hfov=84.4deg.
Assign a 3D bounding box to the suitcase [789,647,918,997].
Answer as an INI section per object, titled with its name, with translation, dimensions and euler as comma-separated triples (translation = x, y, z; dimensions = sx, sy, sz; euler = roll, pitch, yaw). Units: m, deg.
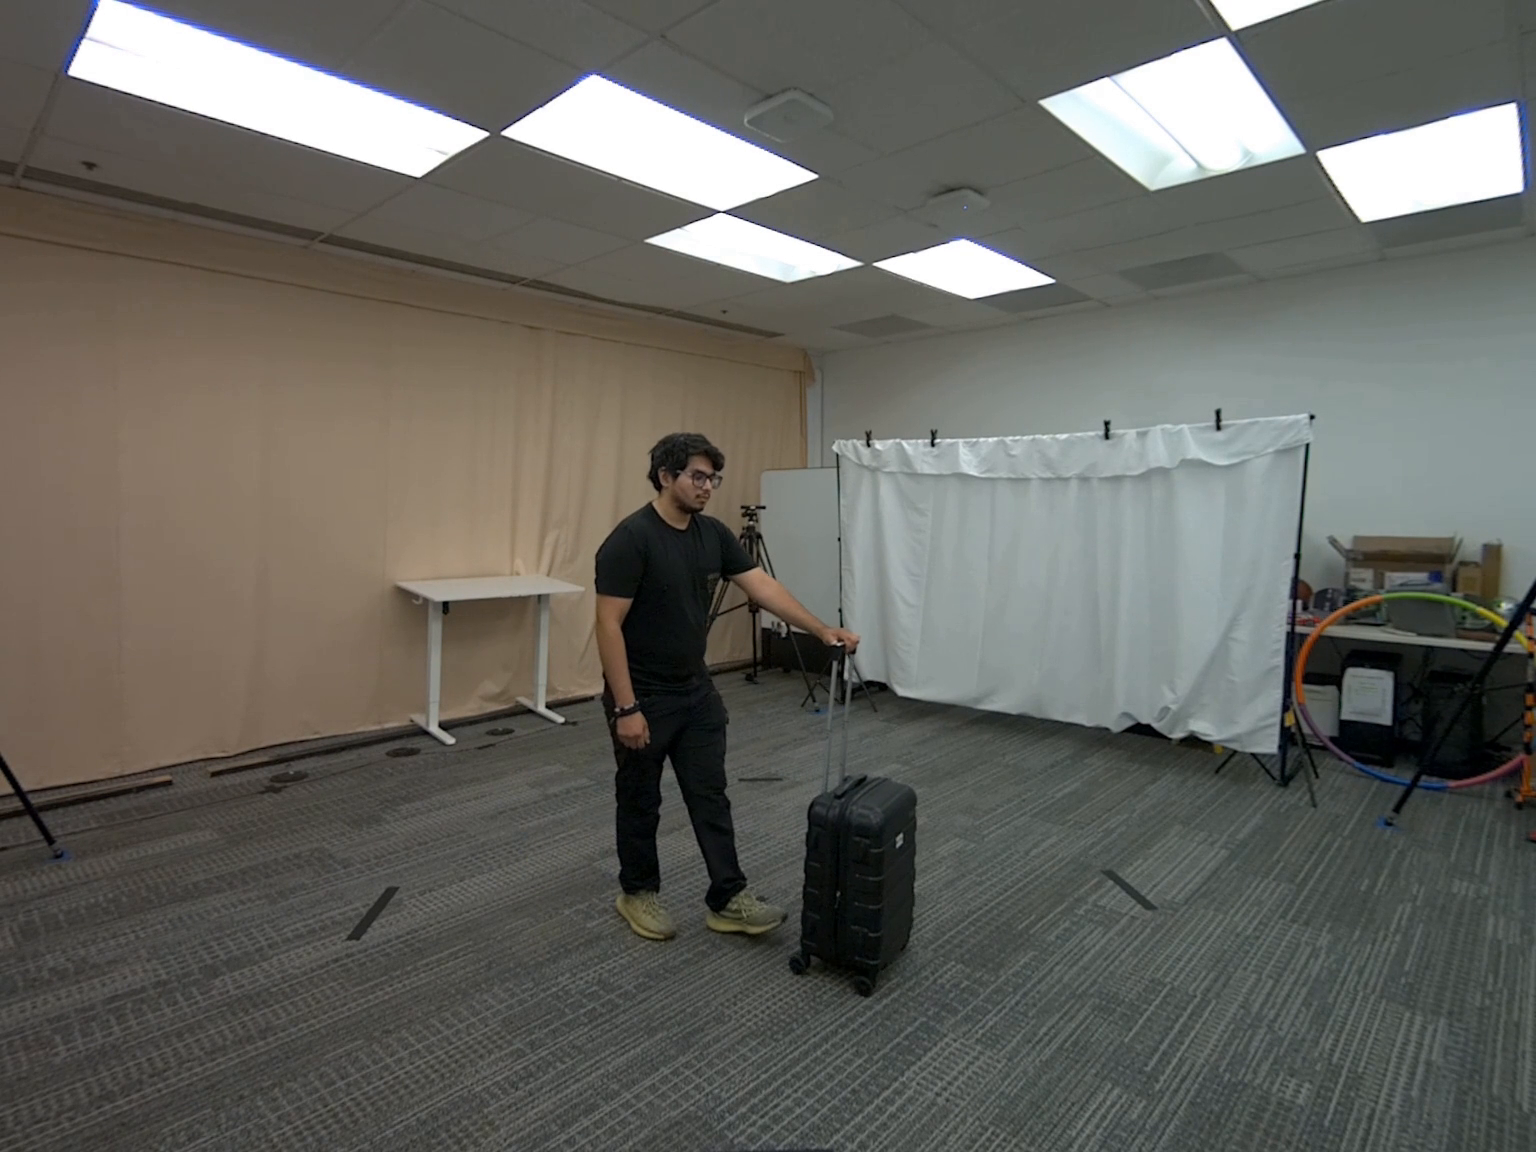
[suitcase]
translation = 0.310, 0.710, 2.532
dimensions = 0.265, 0.976, 0.374
euler = 7, 6, 28
